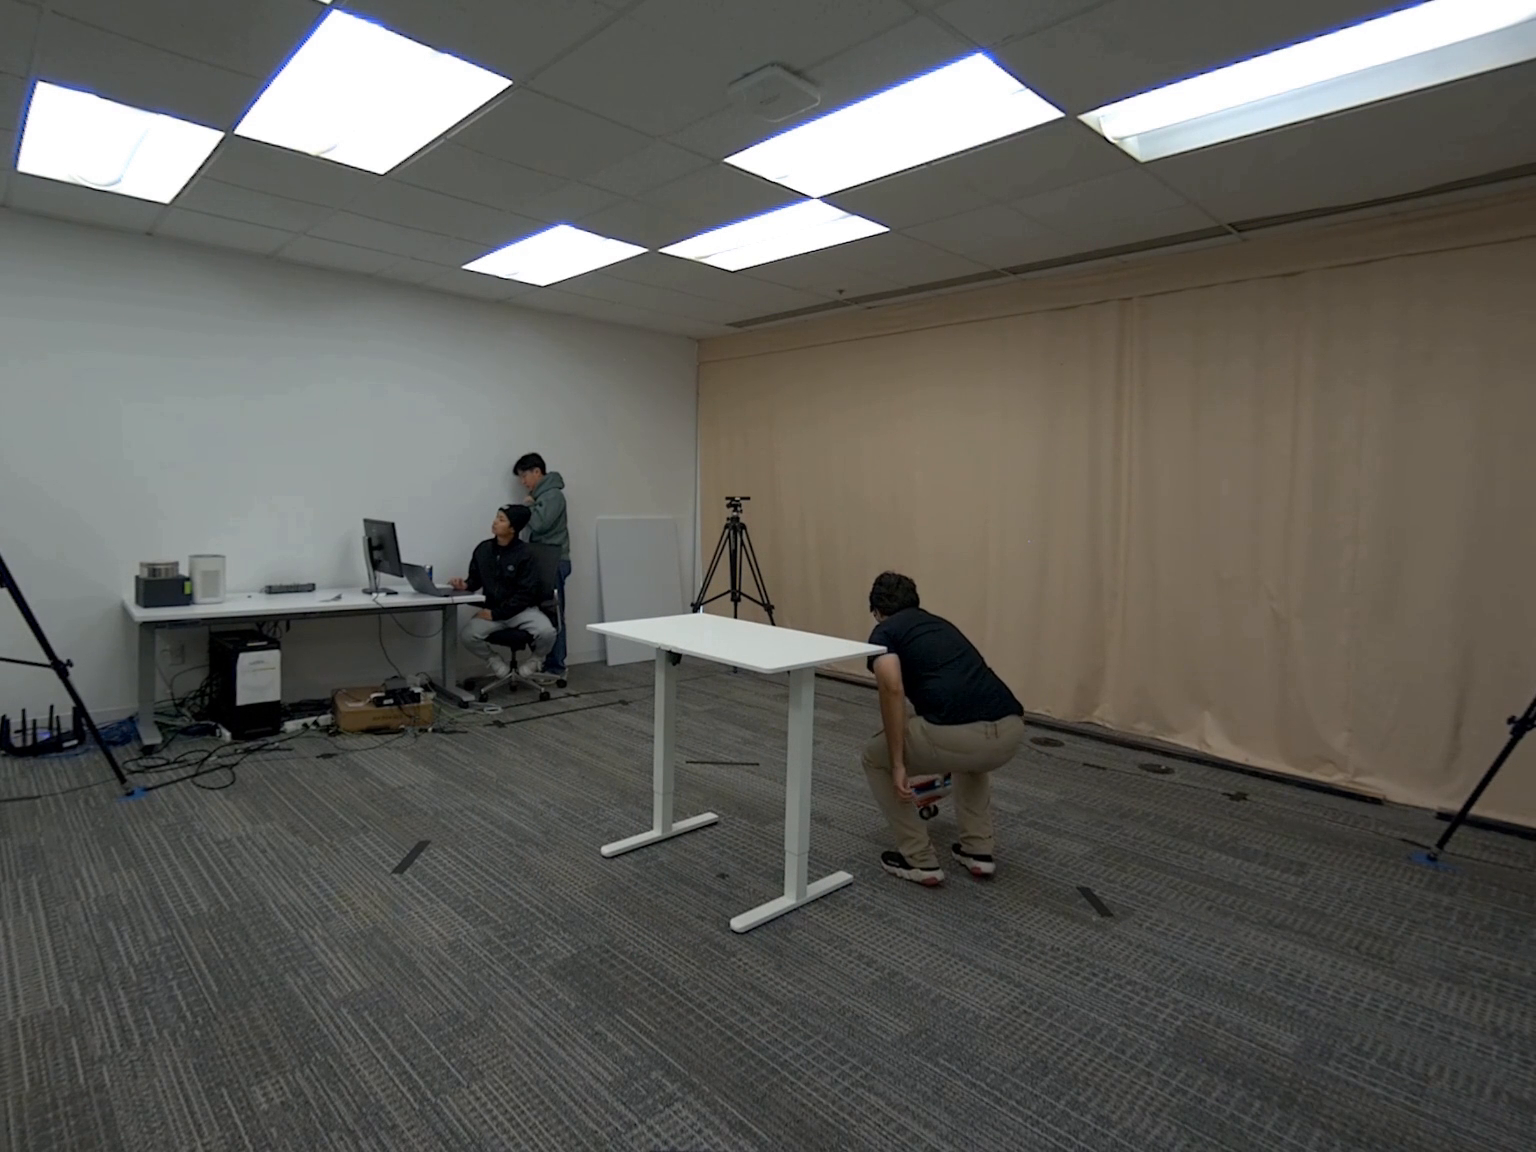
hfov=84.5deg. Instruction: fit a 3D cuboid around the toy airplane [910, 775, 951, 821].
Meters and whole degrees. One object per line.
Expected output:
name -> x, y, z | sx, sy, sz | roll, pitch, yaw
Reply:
toy airplane -> 0.729, 0.922, 3.613 | 0.258, 0.159, 0.247 | -27, -19, -6
